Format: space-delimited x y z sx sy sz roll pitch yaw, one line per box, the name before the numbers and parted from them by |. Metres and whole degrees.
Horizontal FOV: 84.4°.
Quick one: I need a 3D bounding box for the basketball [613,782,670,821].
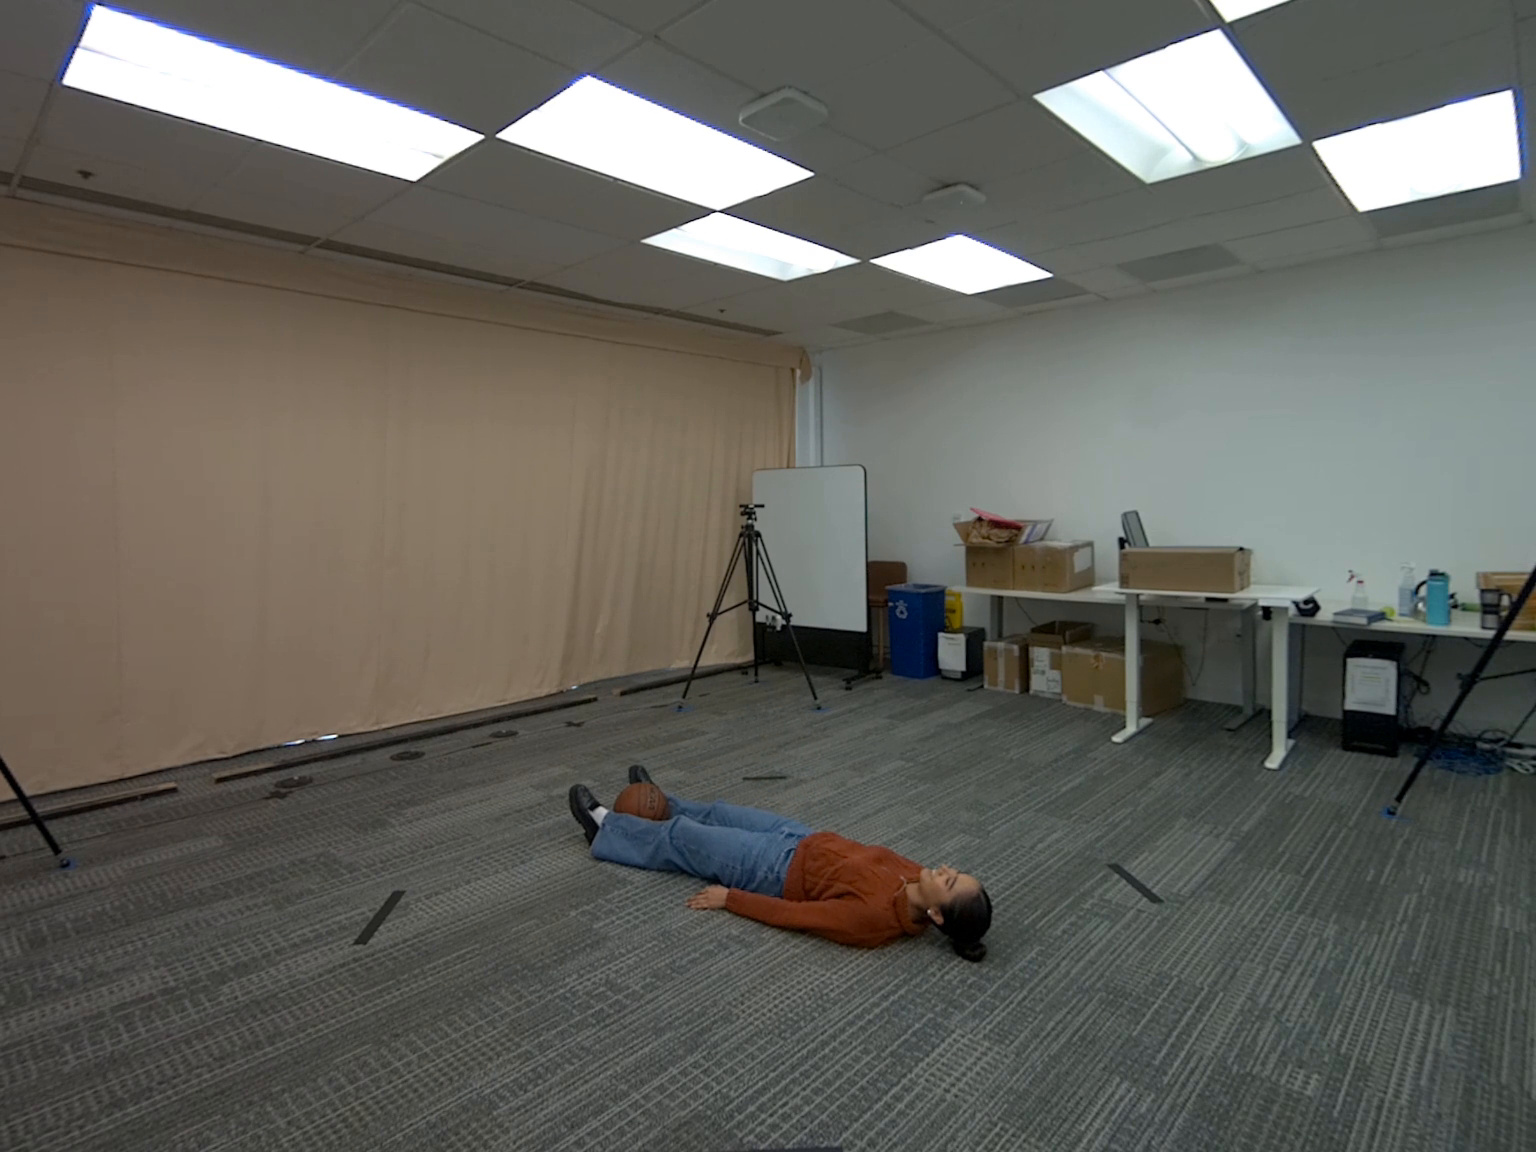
basketball | -0.529 0.991 3.532 0.236 0.235 0.237 -1 4 -2
